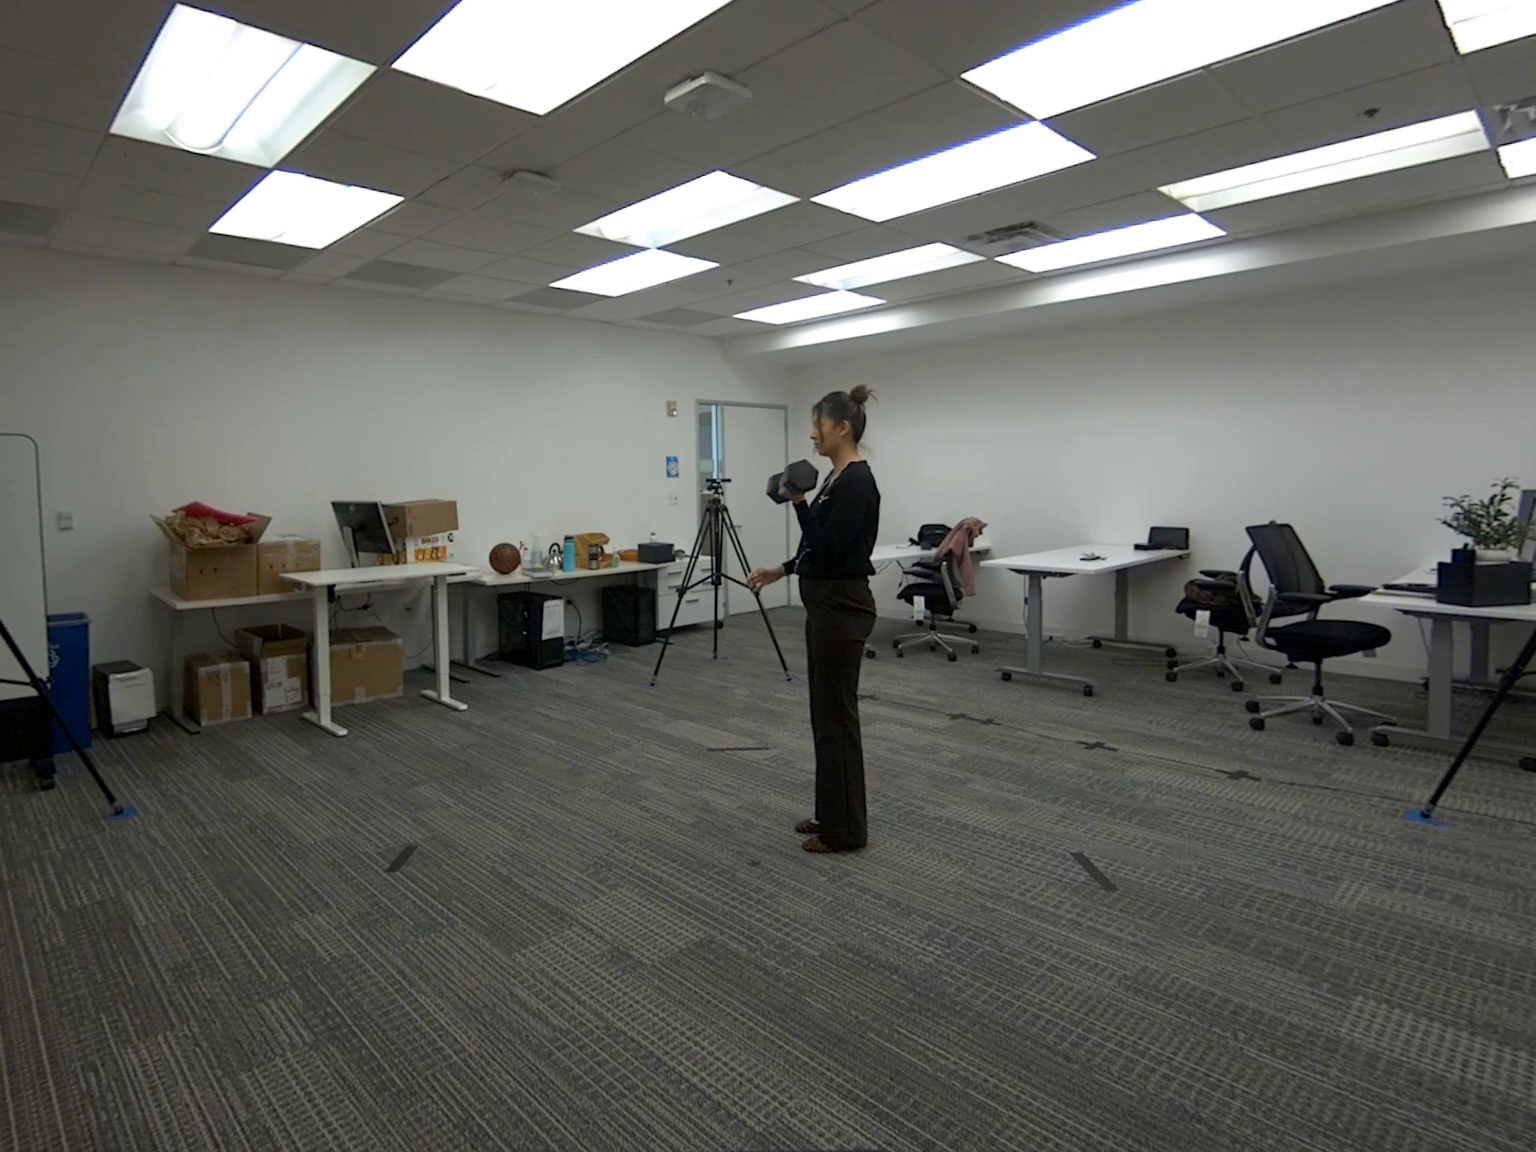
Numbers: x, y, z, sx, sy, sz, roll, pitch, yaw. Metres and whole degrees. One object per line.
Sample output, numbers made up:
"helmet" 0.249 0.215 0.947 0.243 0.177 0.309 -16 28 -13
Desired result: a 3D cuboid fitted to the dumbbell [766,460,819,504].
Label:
"dumbbell" 0.092 -0.332 3.057 0.122 0.109 0.295 42 -12 -5
